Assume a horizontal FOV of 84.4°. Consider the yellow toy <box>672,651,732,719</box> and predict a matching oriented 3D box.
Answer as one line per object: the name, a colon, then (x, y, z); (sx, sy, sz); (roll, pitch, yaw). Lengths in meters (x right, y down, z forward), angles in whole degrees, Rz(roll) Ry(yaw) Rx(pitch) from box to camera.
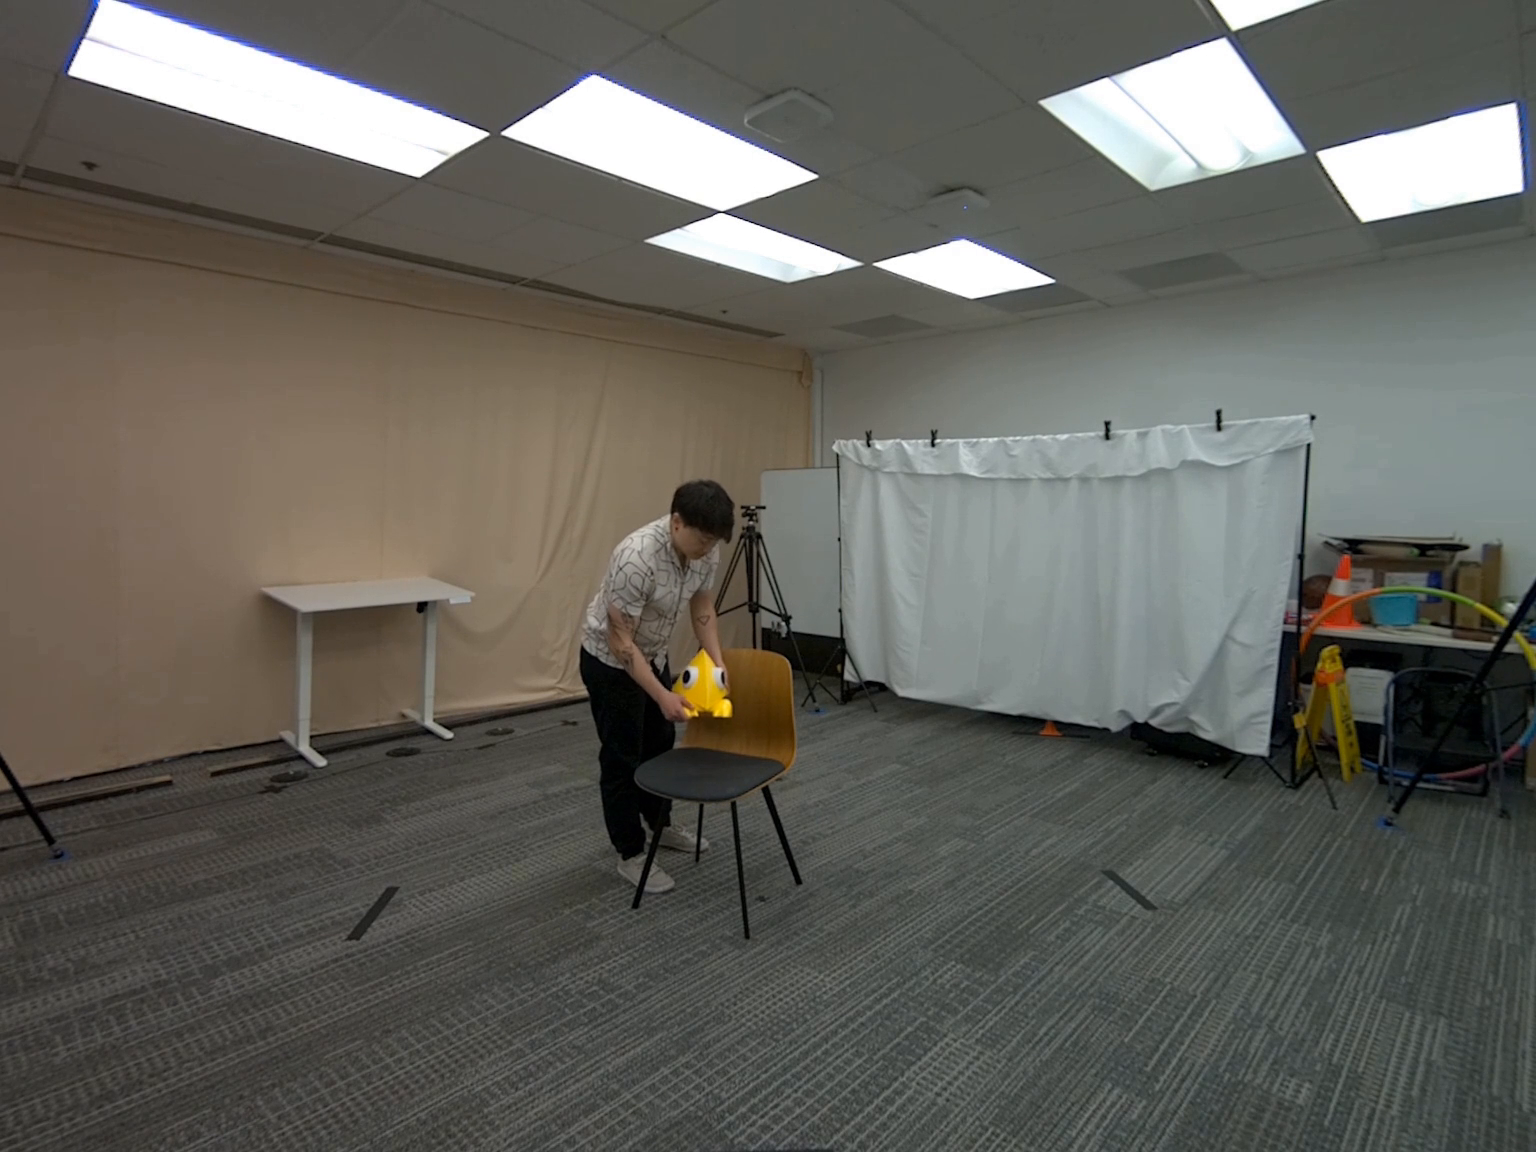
yellow toy: (-0.217, 0.370, 2.942); (0.202, 0.232, 0.194); (4, -8, -12)
